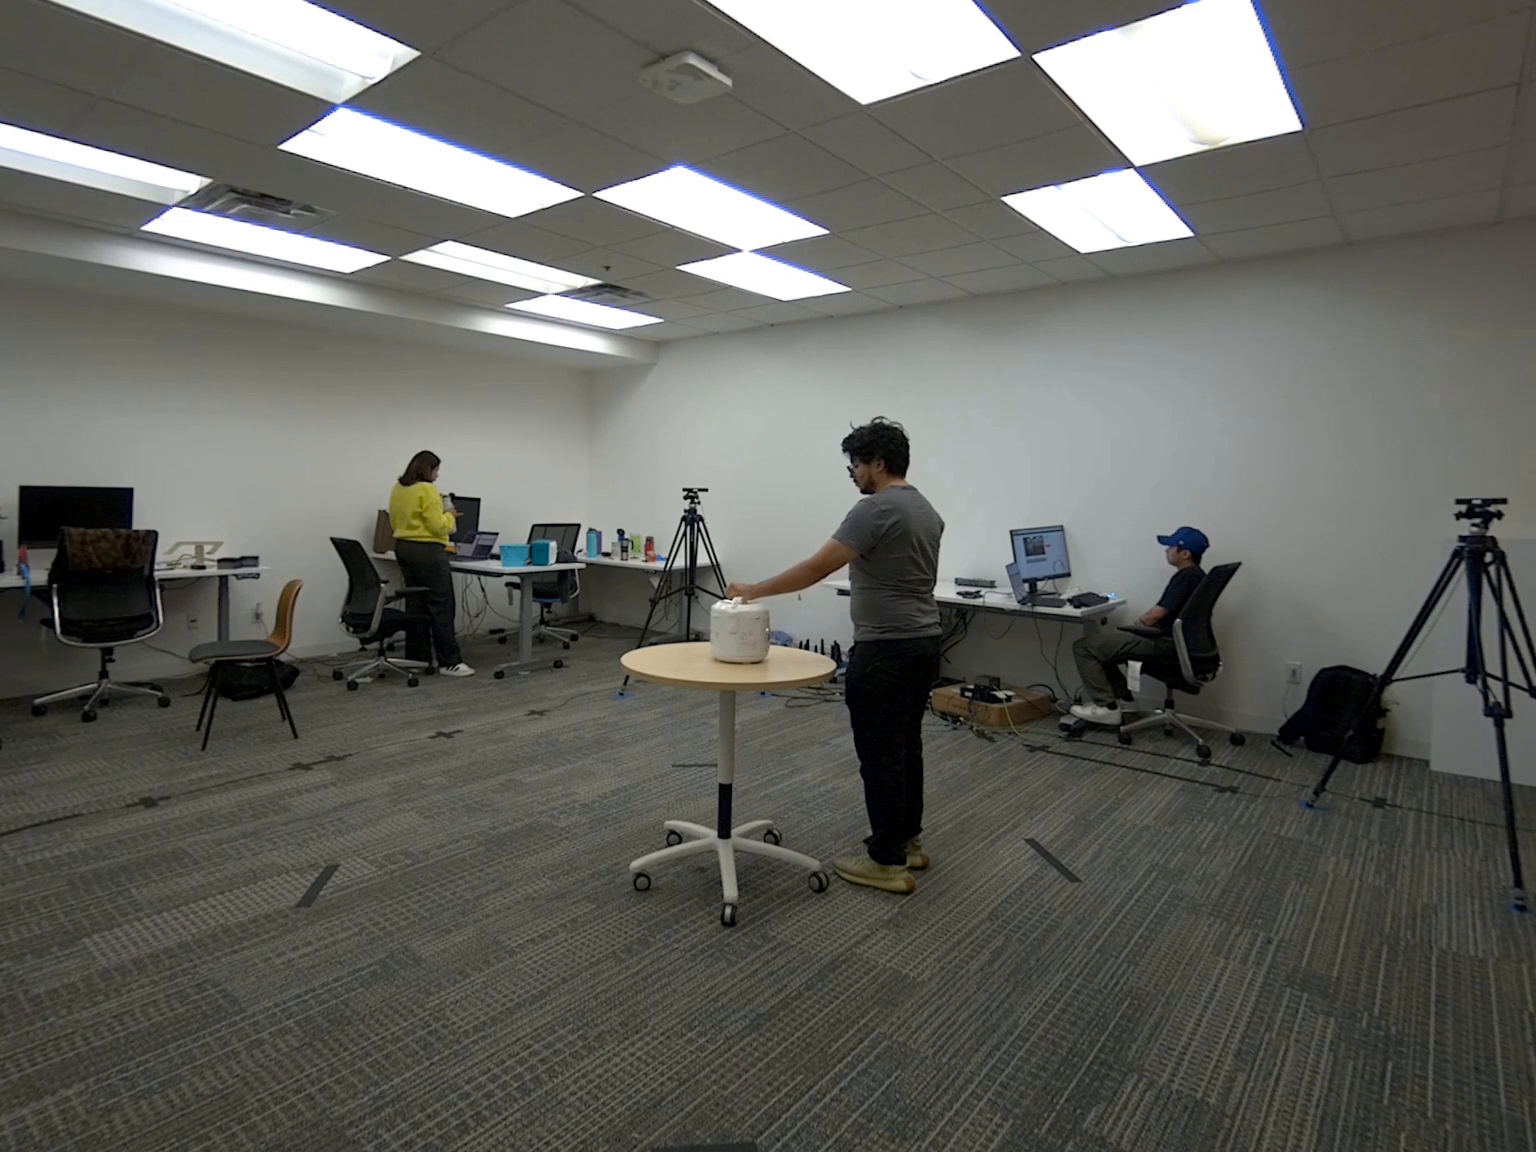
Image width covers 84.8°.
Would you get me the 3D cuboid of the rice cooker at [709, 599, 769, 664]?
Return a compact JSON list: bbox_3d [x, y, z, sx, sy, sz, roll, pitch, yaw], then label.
[{"bbox_3d":[-0.110,0.182,3.049,0.221,0.232,0.218,2,3,14],"label":"rice cooker"}]
